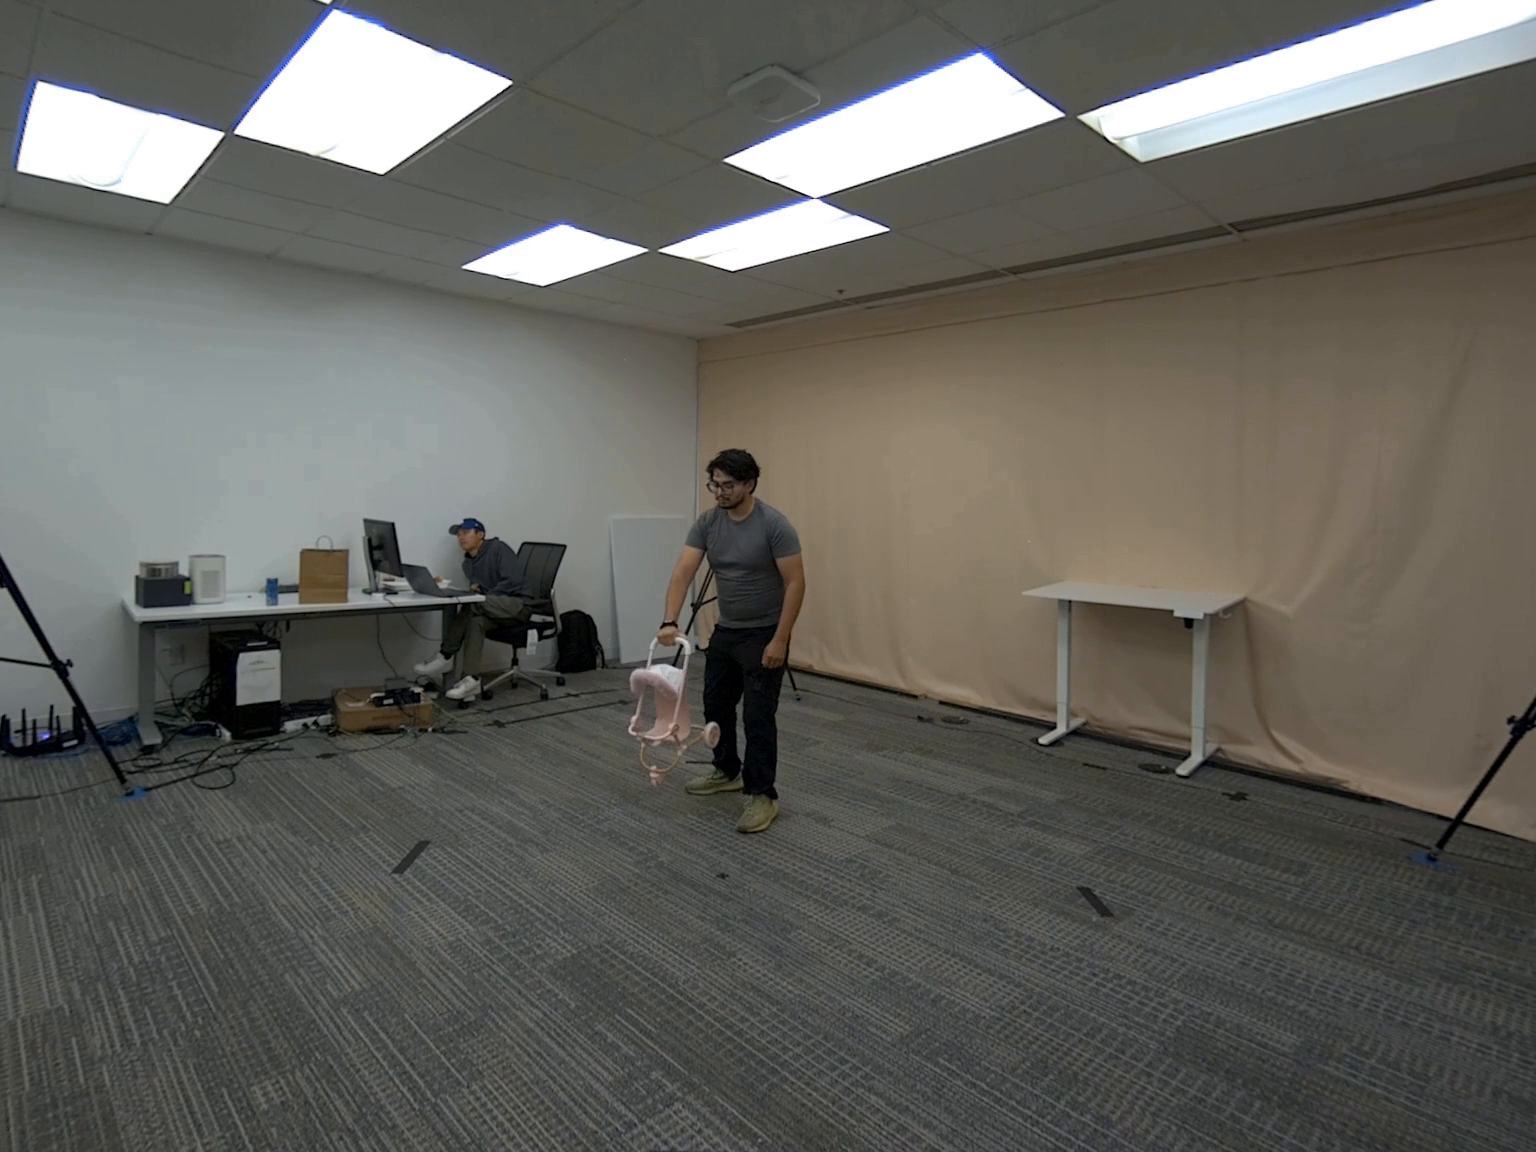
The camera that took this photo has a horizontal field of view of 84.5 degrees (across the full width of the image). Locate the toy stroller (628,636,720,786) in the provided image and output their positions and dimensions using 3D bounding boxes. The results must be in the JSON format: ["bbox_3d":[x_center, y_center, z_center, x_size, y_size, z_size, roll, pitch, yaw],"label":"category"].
[{"bbox_3d":[-0.438,0.560,3.429,0.288,0.526,0.339,6,27,36],"label":"toy stroller"}]
